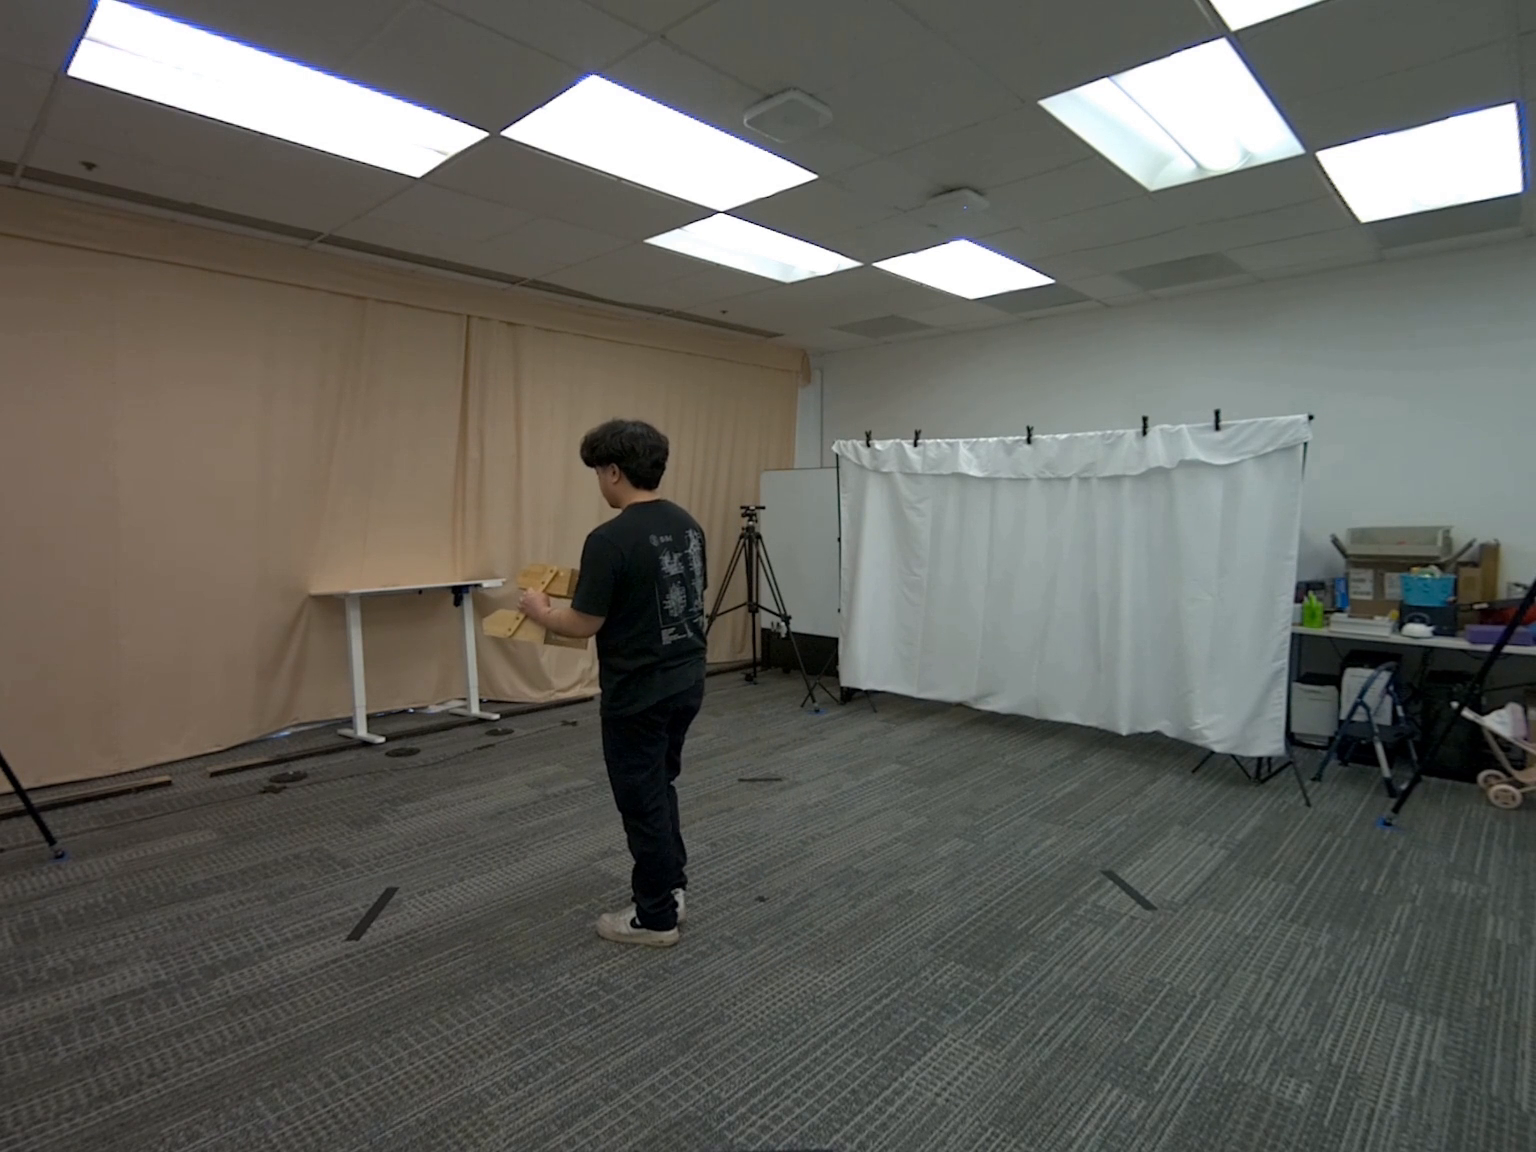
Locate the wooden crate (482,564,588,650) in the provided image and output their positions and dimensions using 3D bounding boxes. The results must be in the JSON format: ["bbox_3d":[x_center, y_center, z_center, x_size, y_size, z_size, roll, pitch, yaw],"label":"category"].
[{"bbox_3d":[-0.782,0.096,2.924,0.308,0.274,0.317,7,-6,16],"label":"wooden crate"}]
